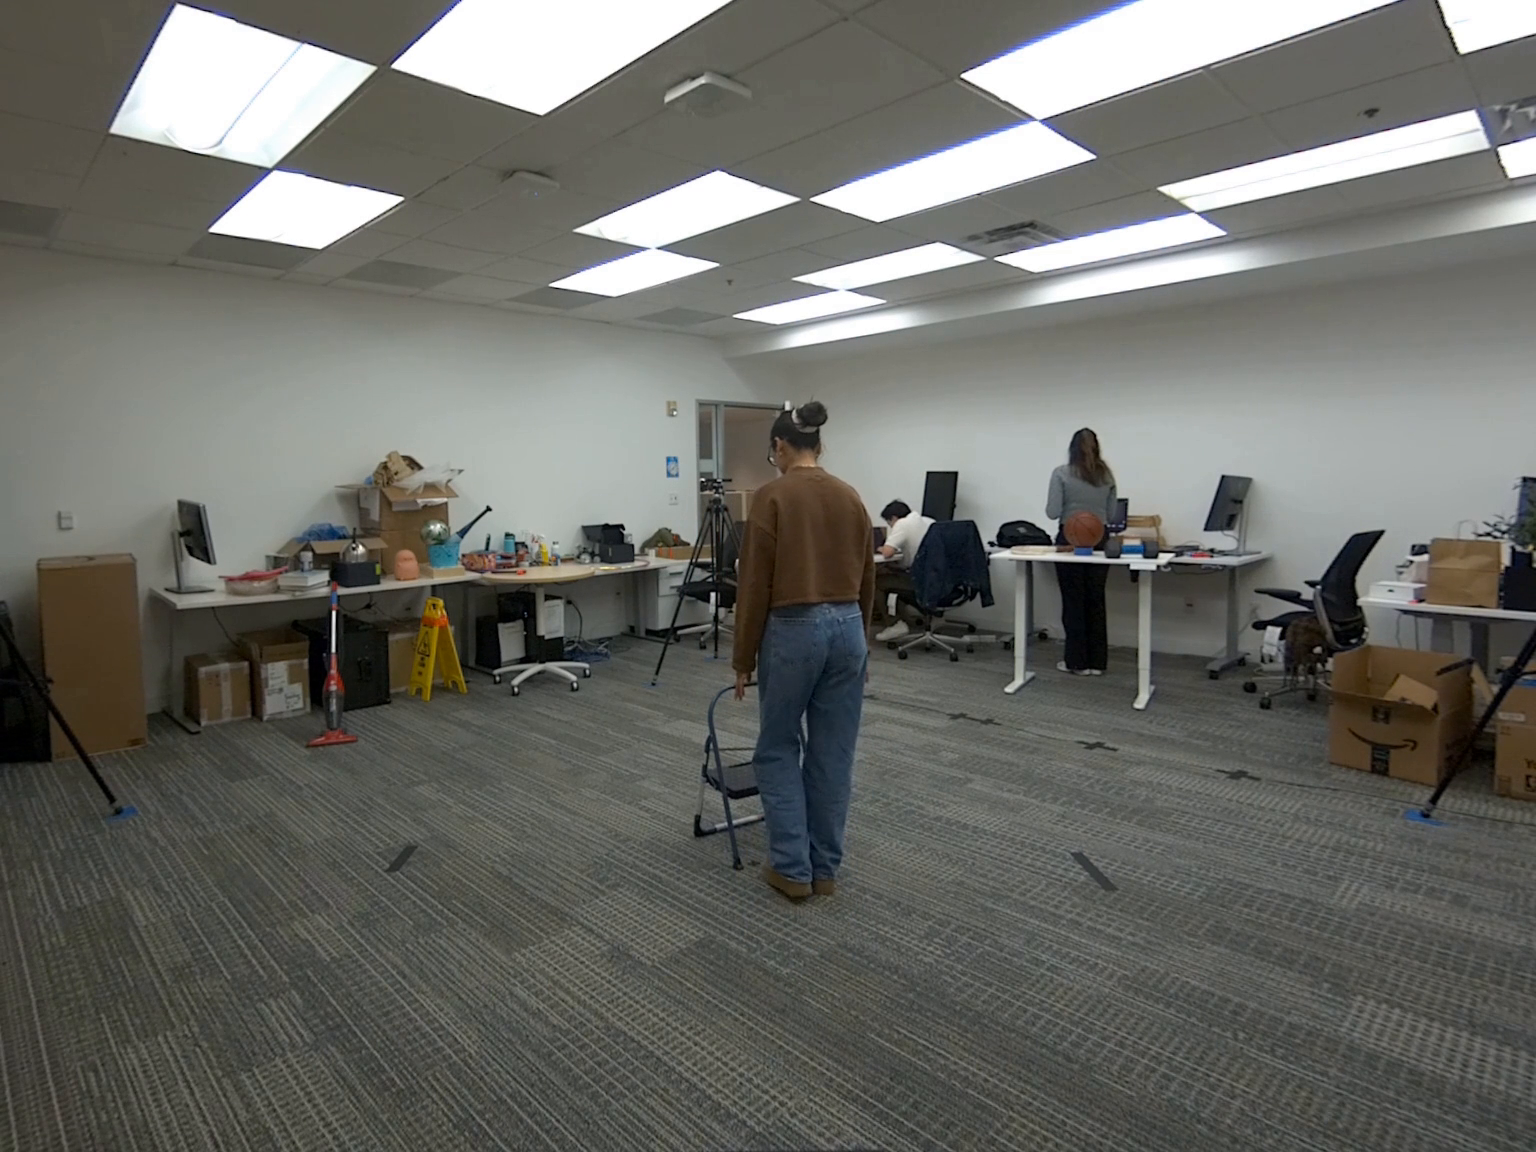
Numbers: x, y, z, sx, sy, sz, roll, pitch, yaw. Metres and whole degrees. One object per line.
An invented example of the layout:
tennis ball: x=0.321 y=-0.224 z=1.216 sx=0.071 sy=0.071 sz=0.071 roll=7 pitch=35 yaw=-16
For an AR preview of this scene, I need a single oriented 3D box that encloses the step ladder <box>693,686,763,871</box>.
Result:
step ladder: x=-0.030 y=0.722 z=3.288 sx=0.420 sy=0.604 sz=0.359 roll=-4 pitch=5 yaw=-33
